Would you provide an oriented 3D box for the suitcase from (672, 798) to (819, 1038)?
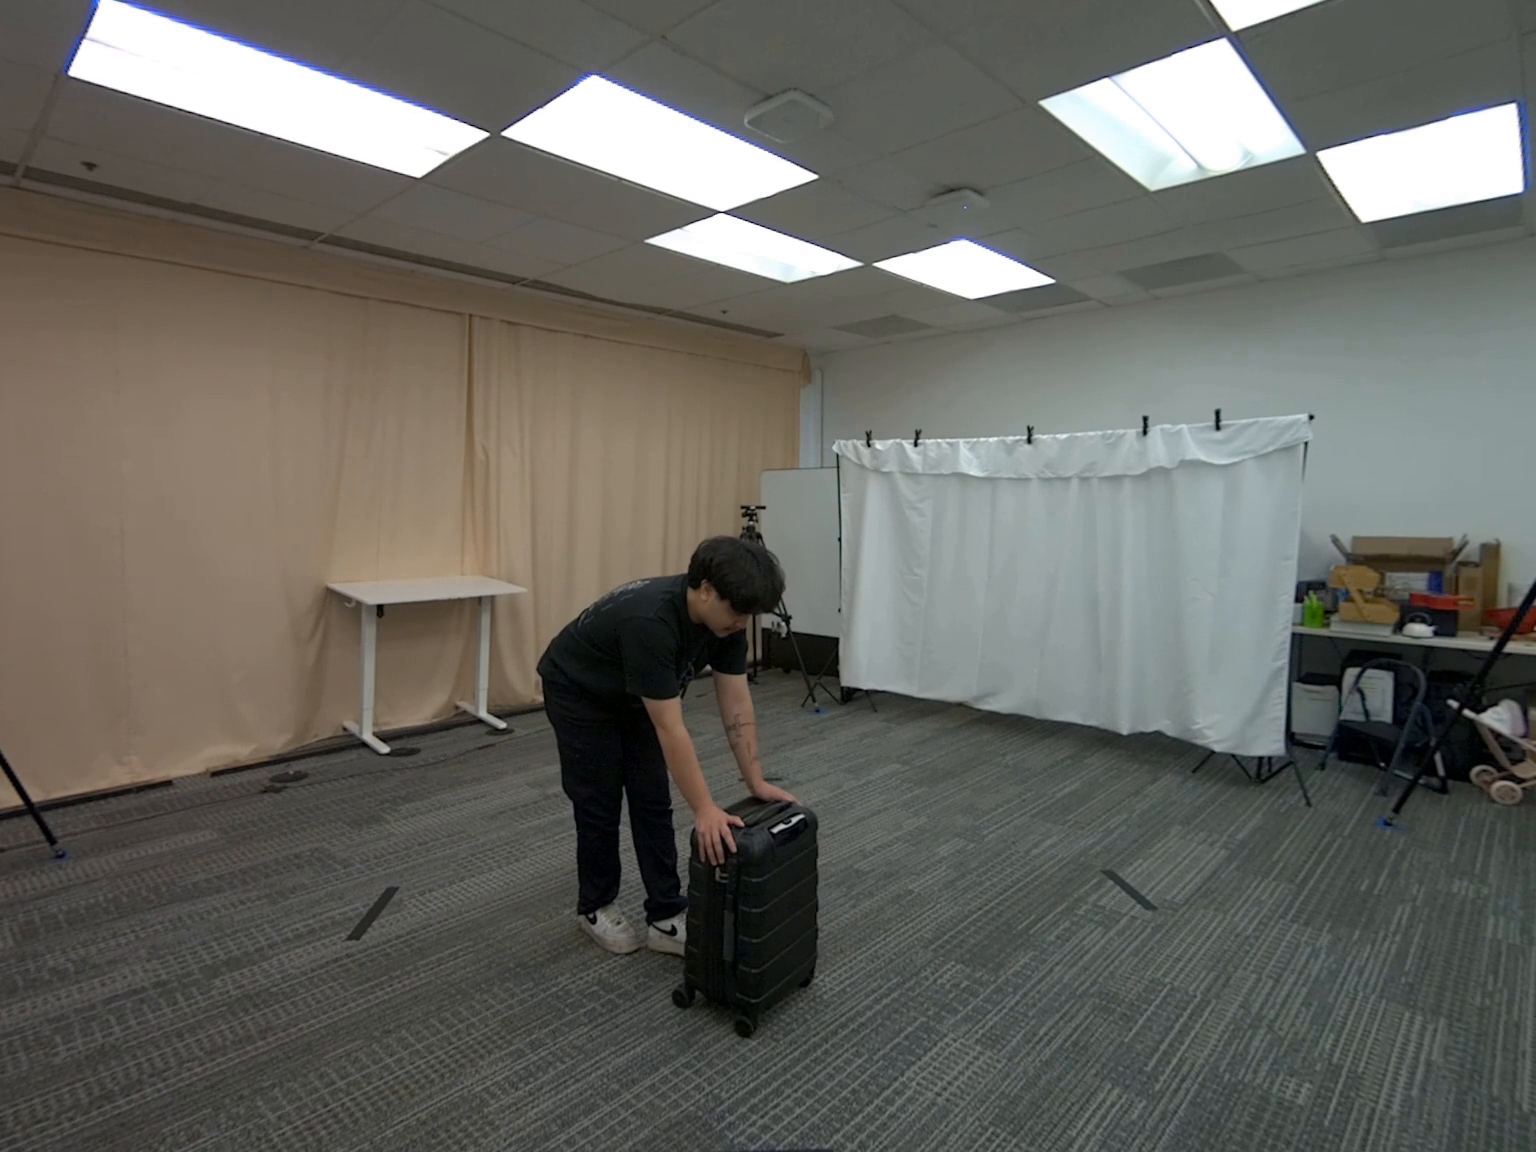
[{"bbox_3d":[-0.036,0.926,2.364,0.256,0.548,0.364,5,5,36],"label":"suitcase"}]
